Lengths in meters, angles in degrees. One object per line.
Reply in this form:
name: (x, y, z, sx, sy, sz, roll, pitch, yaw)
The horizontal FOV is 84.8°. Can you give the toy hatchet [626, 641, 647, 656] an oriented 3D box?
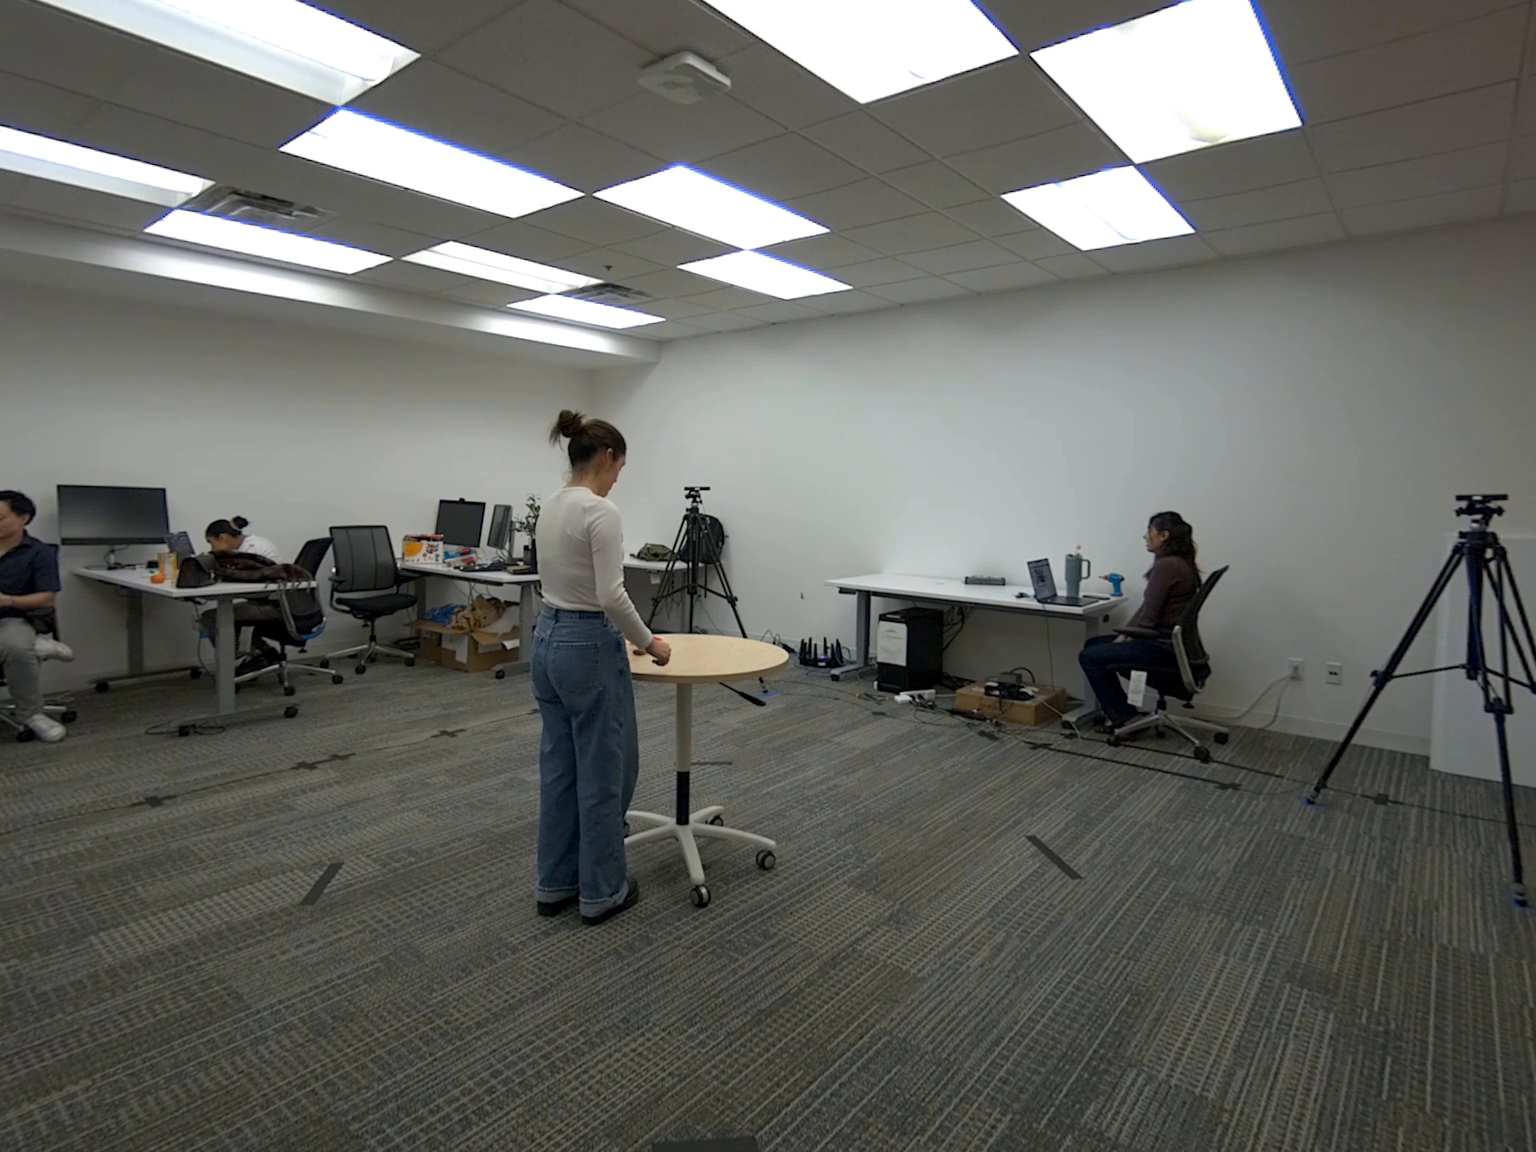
toy hatchet: (-0.500, 0.255, 3.193, 0.133, 0.029, 0.267, 6, 6, 10)
